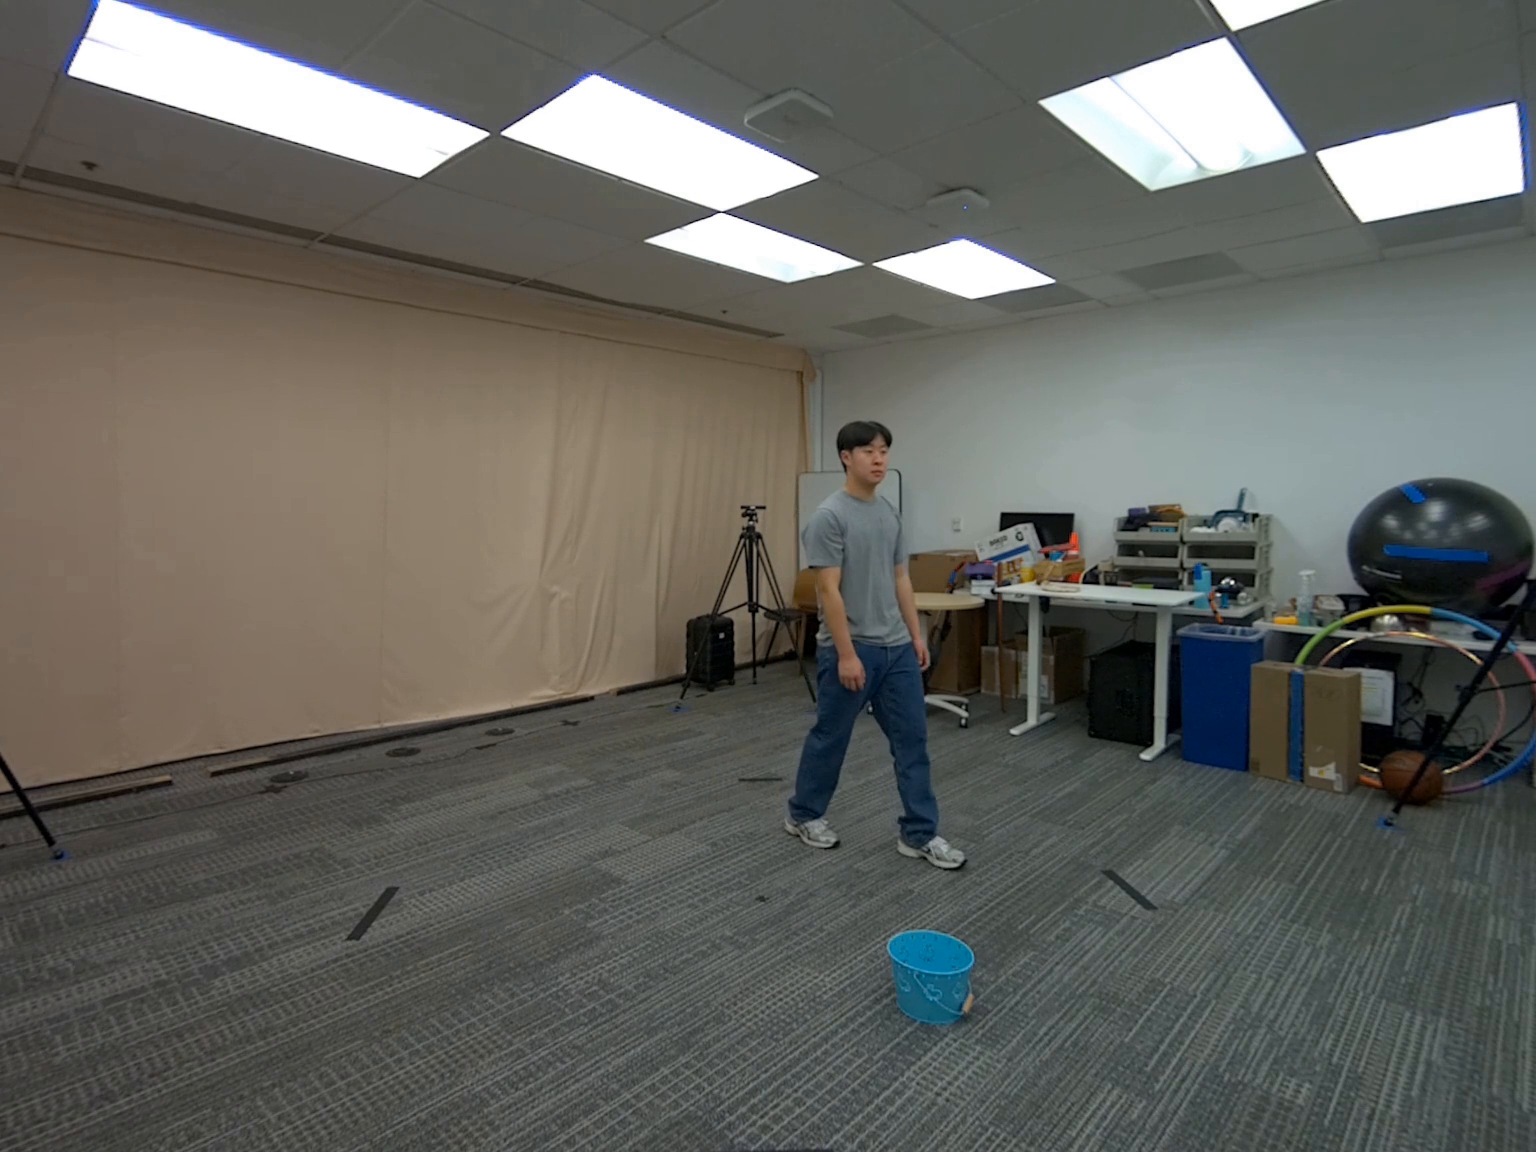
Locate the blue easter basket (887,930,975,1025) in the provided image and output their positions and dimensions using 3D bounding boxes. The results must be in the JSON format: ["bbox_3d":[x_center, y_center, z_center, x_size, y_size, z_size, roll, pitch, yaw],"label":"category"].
[{"bbox_3d":[0.459,1.116,2.342,0.243,0.155,0.244,0,4,-2],"label":"blue easter basket"}]
